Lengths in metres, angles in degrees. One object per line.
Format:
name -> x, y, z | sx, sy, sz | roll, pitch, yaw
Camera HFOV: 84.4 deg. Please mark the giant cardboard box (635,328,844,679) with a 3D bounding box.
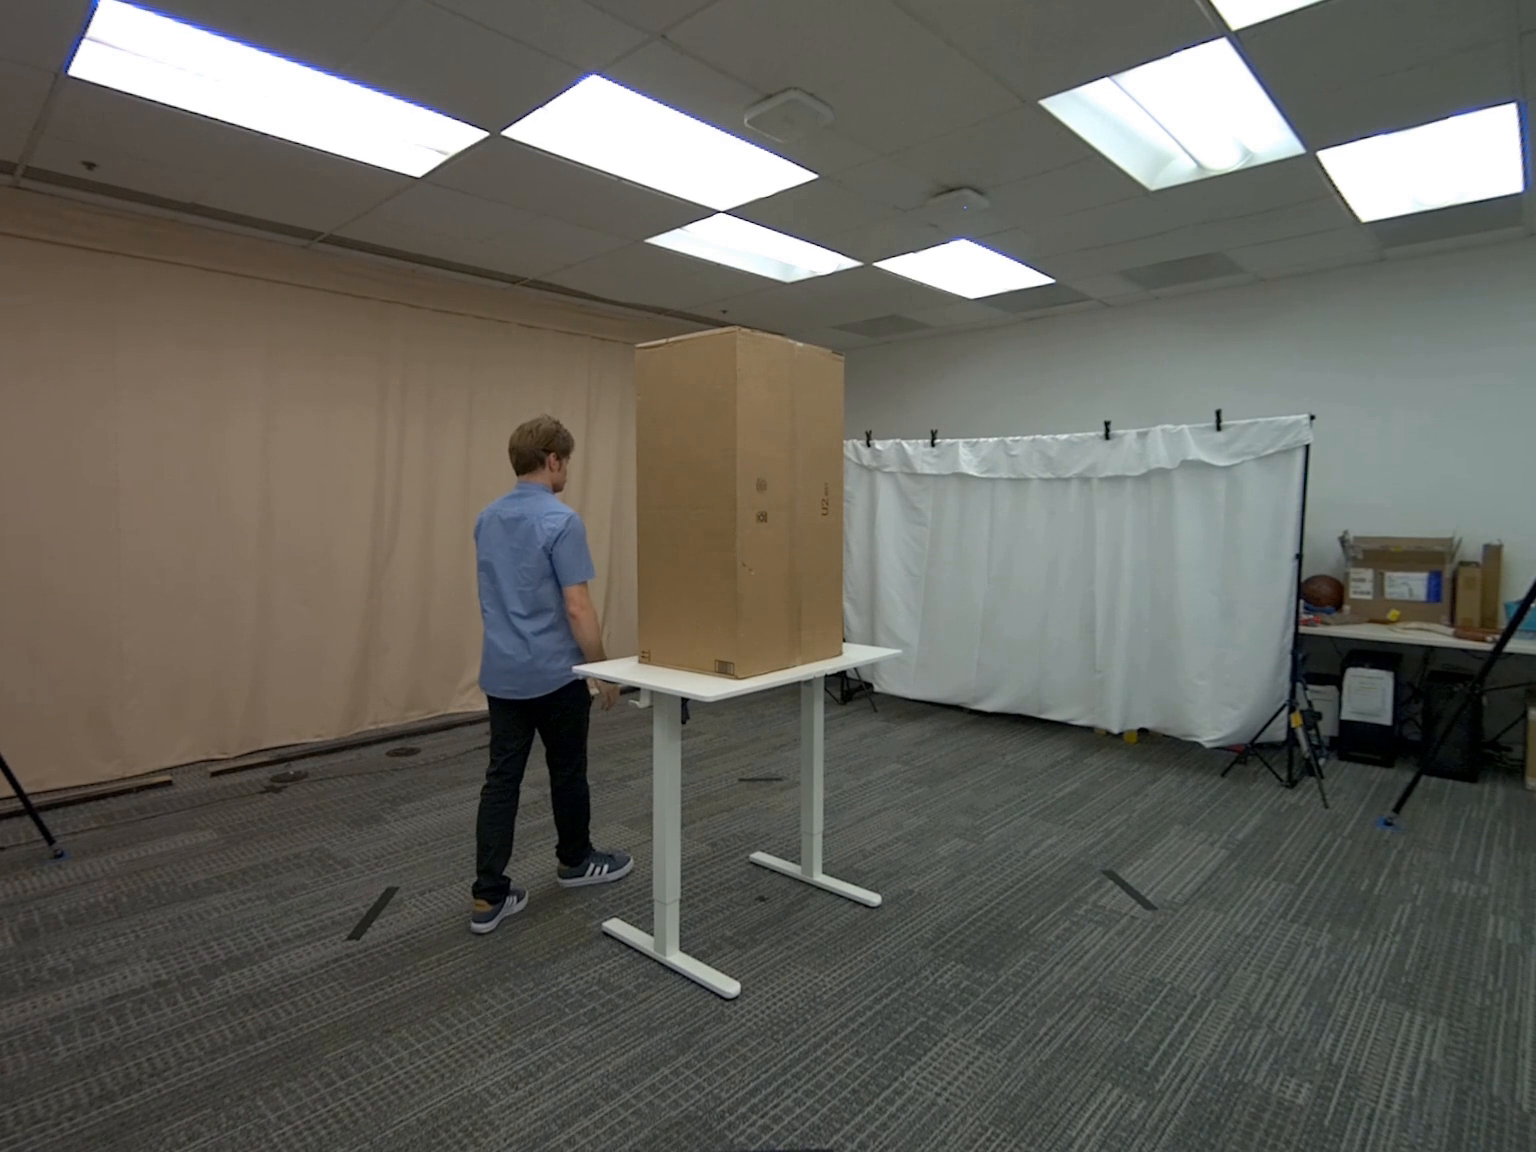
giant cardboard box -> -0.081, -0.228, 2.774 | 0.440, 1.024, 0.560 | 2, 4, 40
